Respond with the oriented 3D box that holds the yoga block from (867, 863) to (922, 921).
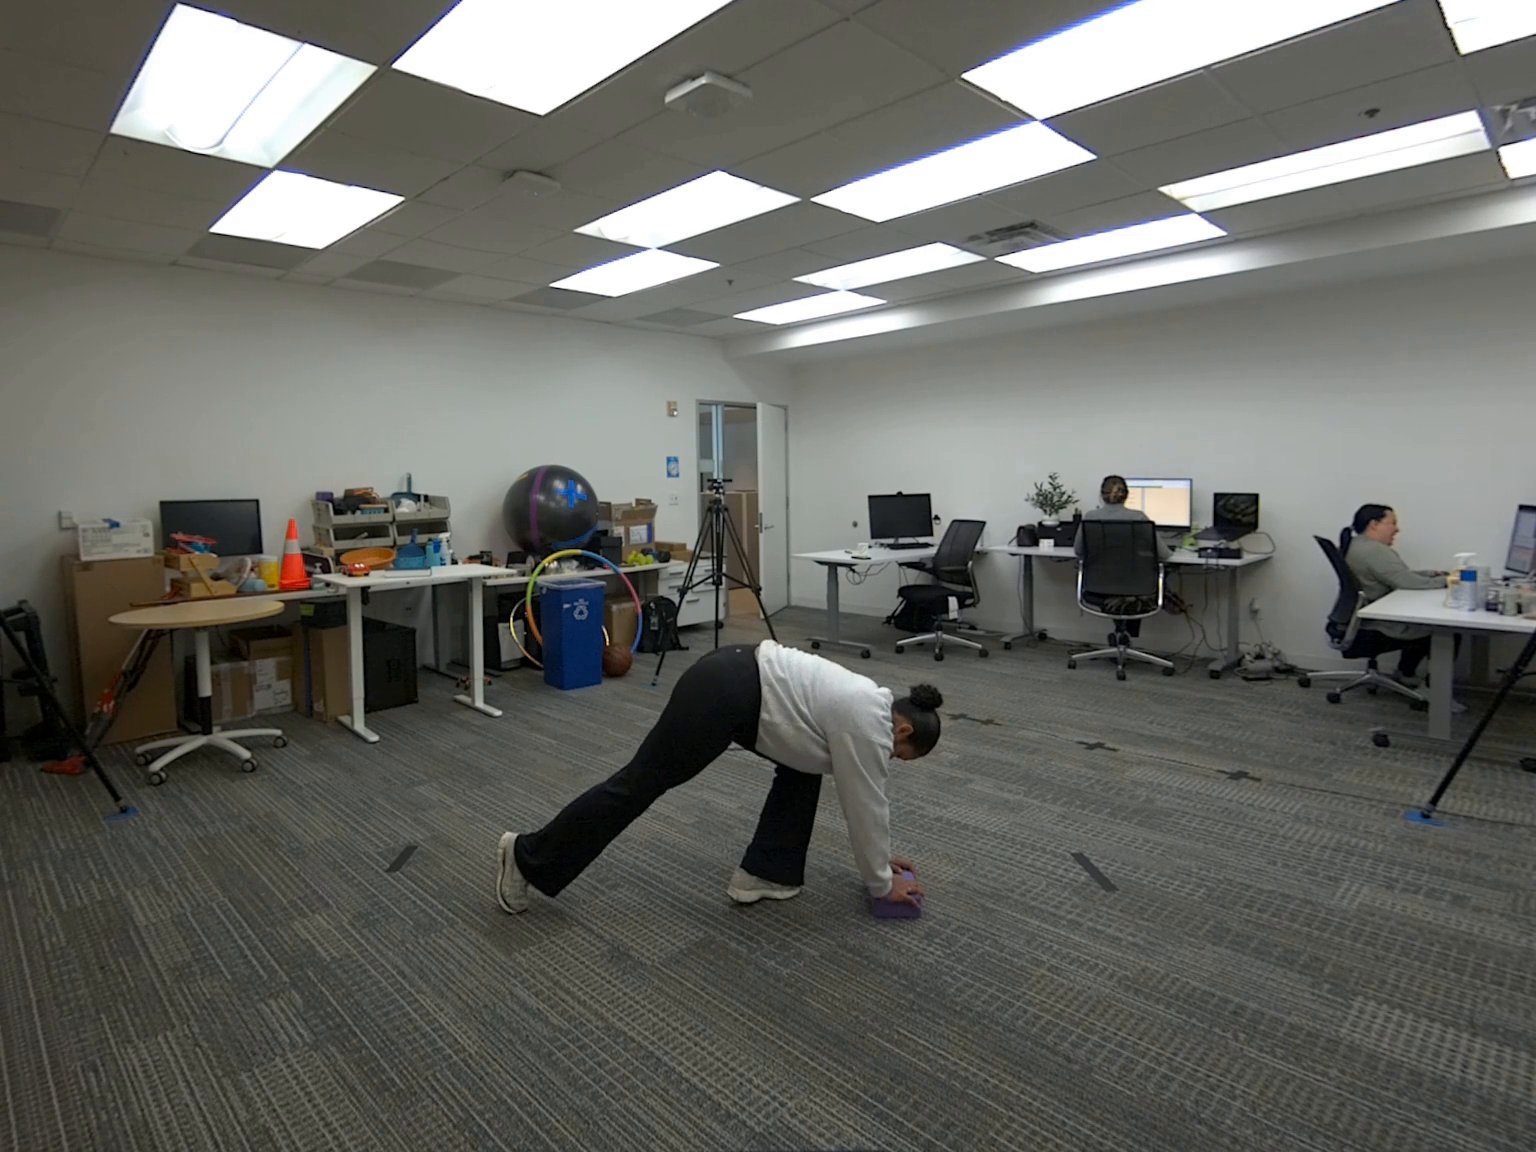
[{"bbox_3d":[0.411,1.027,2.805,0.149,0.076,0.230,3,5,0],"label":"yoga block"}]
